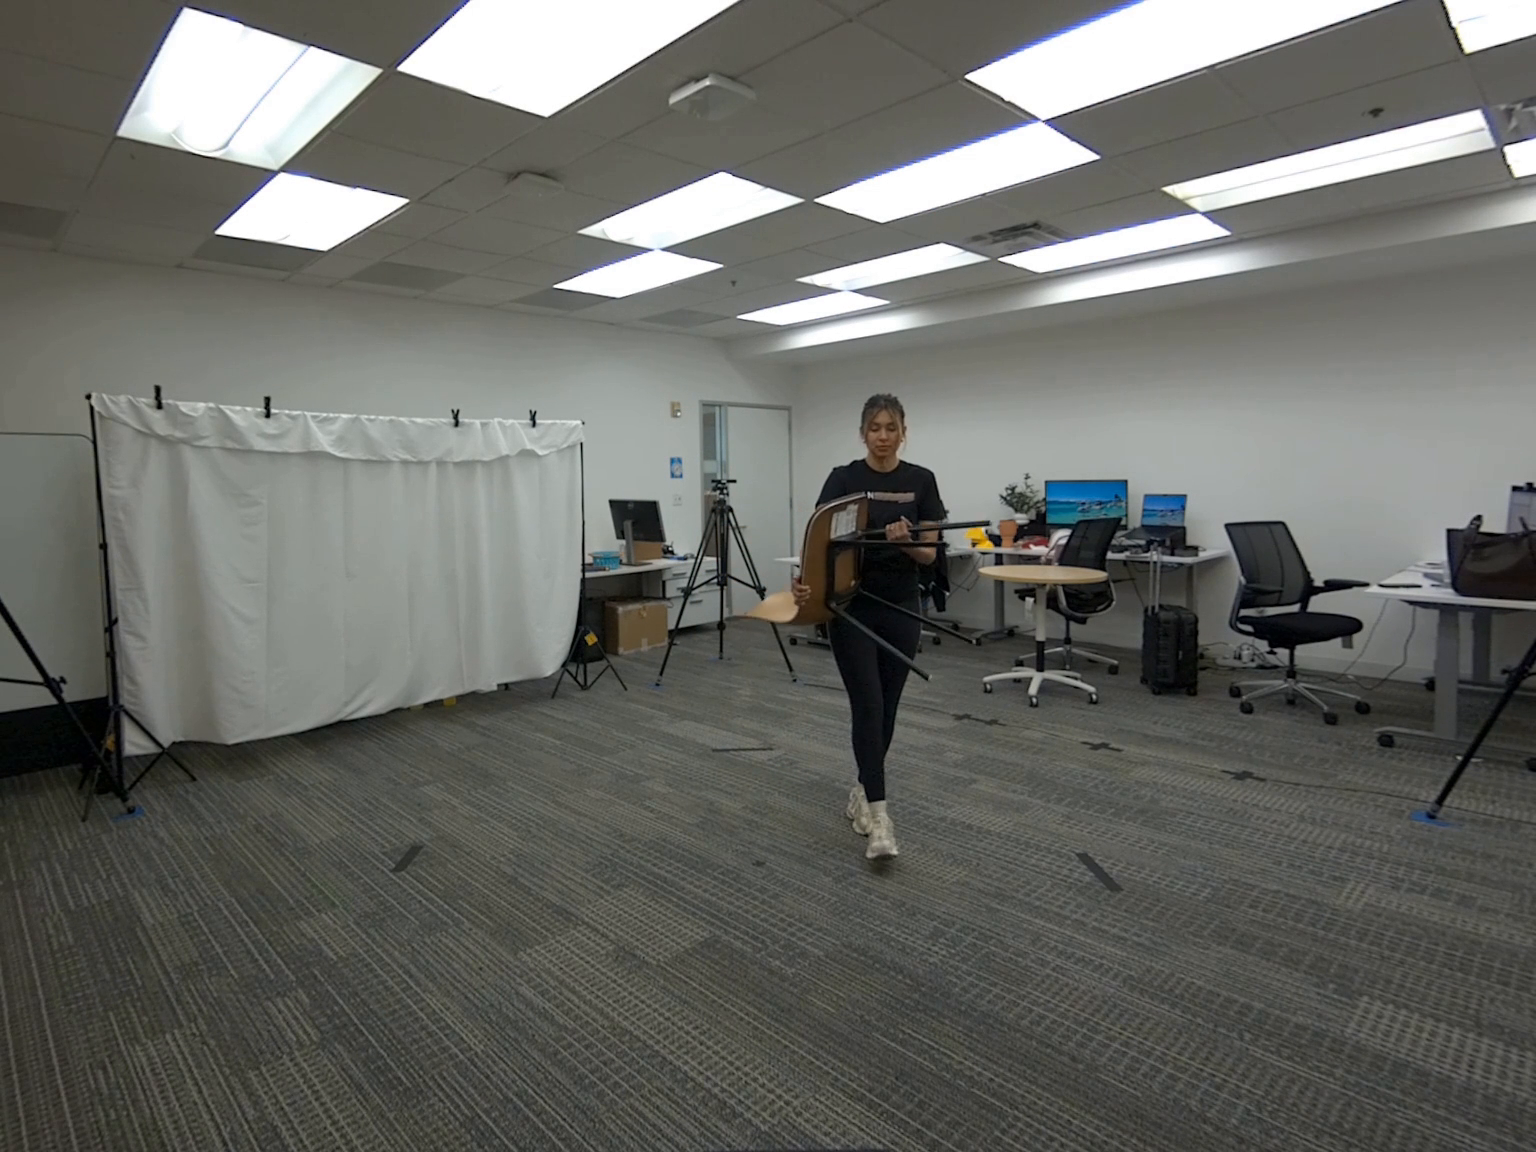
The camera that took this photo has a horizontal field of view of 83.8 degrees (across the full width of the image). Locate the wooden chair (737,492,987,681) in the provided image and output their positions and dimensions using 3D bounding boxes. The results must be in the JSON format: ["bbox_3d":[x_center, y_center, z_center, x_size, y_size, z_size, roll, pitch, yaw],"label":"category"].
[{"bbox_3d":[0.274,-0.018,3.039,0.903,0.517,0.469,8,15,32],"label":"wooden chair"}]
